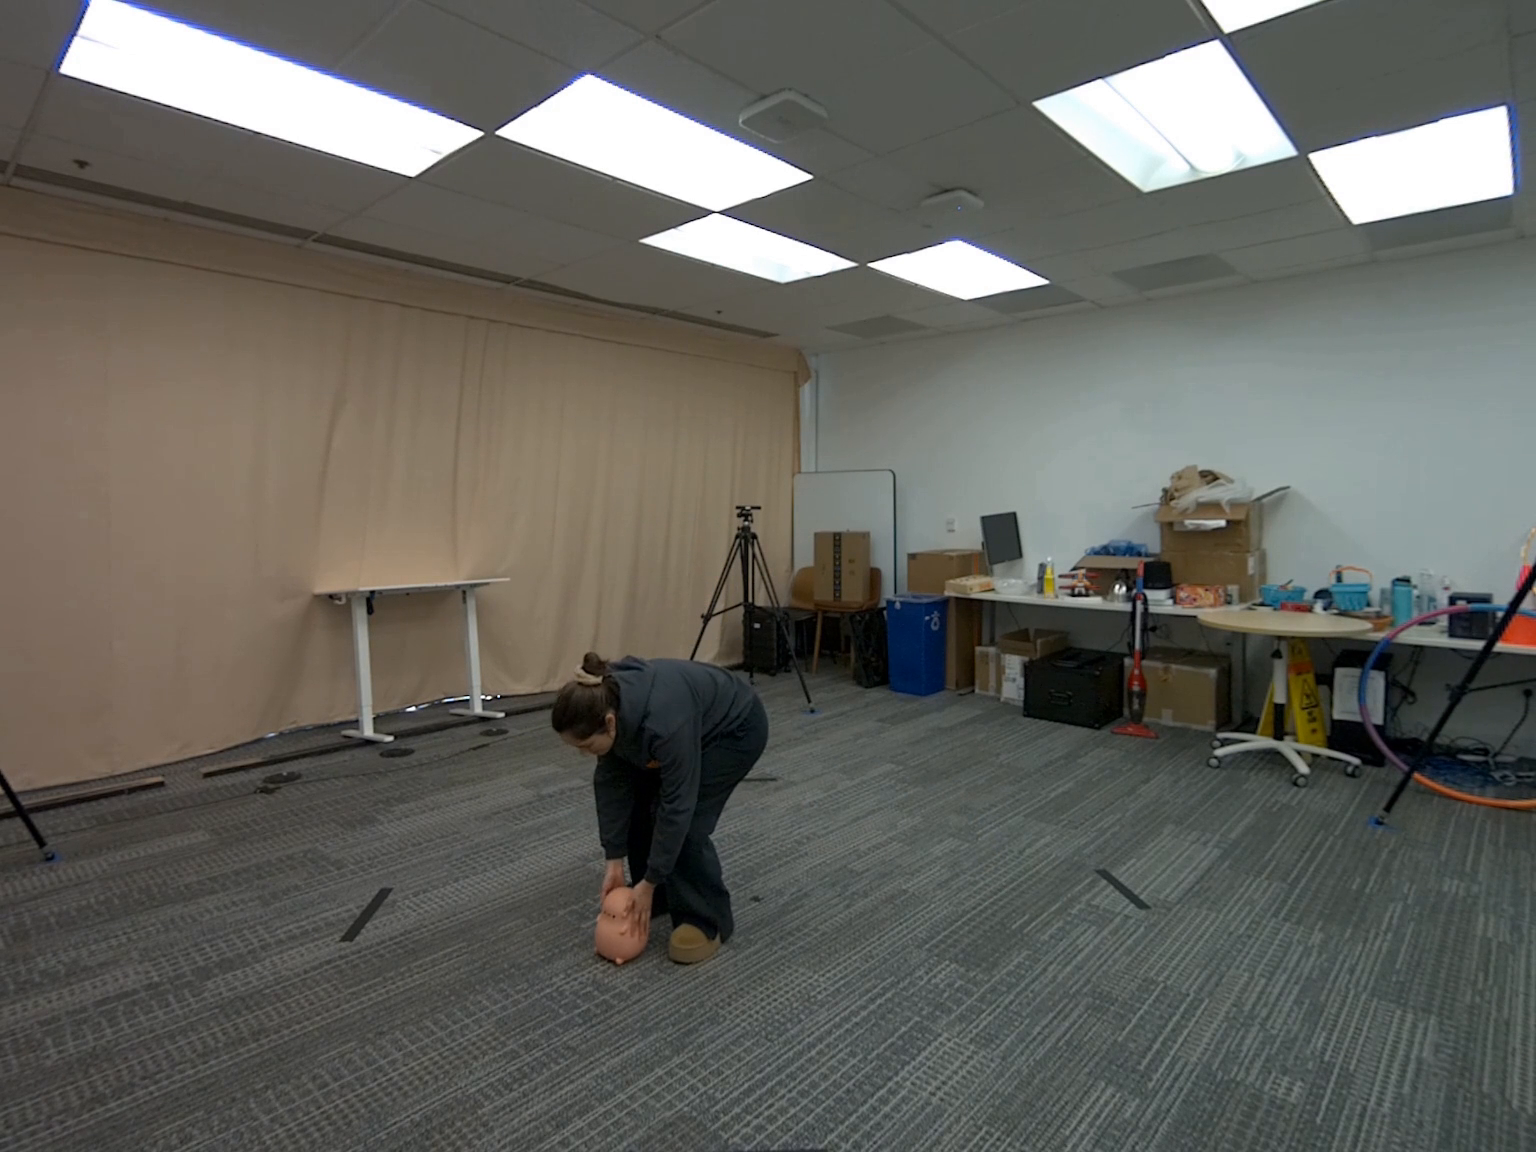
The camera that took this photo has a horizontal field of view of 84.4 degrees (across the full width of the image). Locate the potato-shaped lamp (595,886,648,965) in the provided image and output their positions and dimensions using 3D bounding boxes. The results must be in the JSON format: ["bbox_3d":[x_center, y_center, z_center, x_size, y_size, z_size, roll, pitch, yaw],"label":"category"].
[{"bbox_3d":[-0.444,1.065,2.627,0.170,0.198,0.166,1,4,40],"label":"potato-shaped lamp"}]
